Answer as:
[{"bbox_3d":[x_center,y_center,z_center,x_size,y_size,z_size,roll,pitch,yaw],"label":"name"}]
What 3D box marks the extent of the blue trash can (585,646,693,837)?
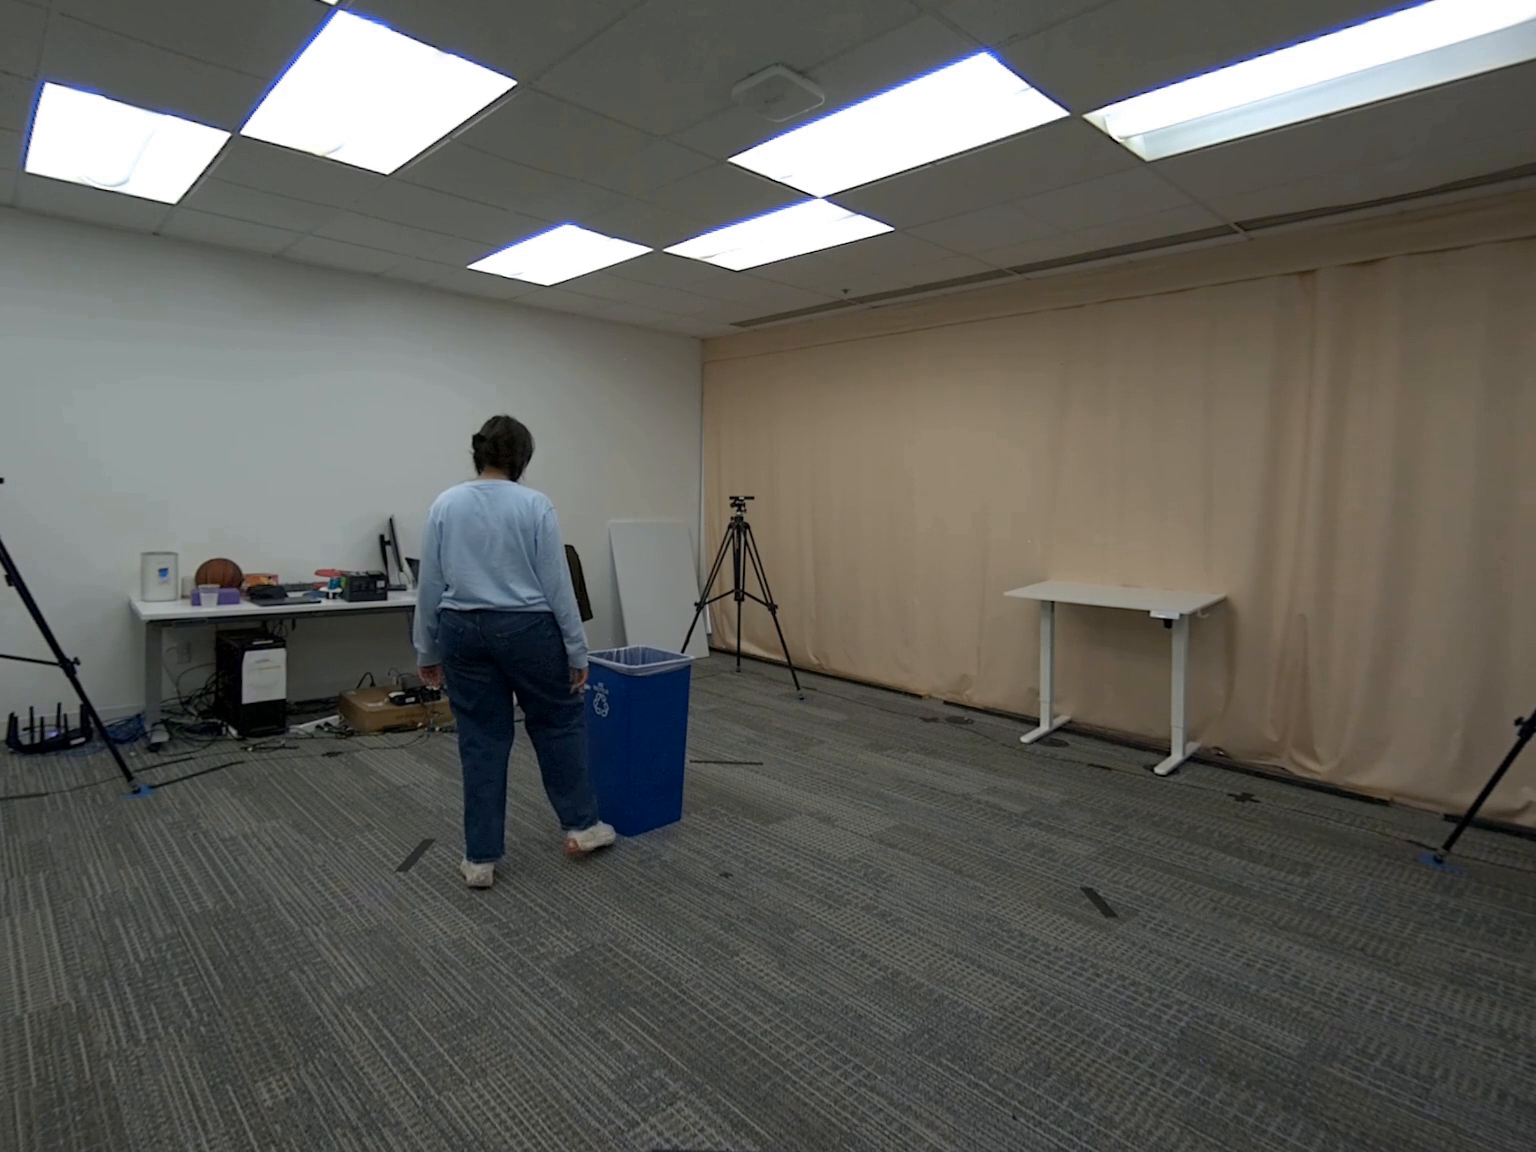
[{"bbox_3d":[-0.576,0.693,3.605,0.388,0.712,0.365,6,5,42],"label":"blue trash can"}]
